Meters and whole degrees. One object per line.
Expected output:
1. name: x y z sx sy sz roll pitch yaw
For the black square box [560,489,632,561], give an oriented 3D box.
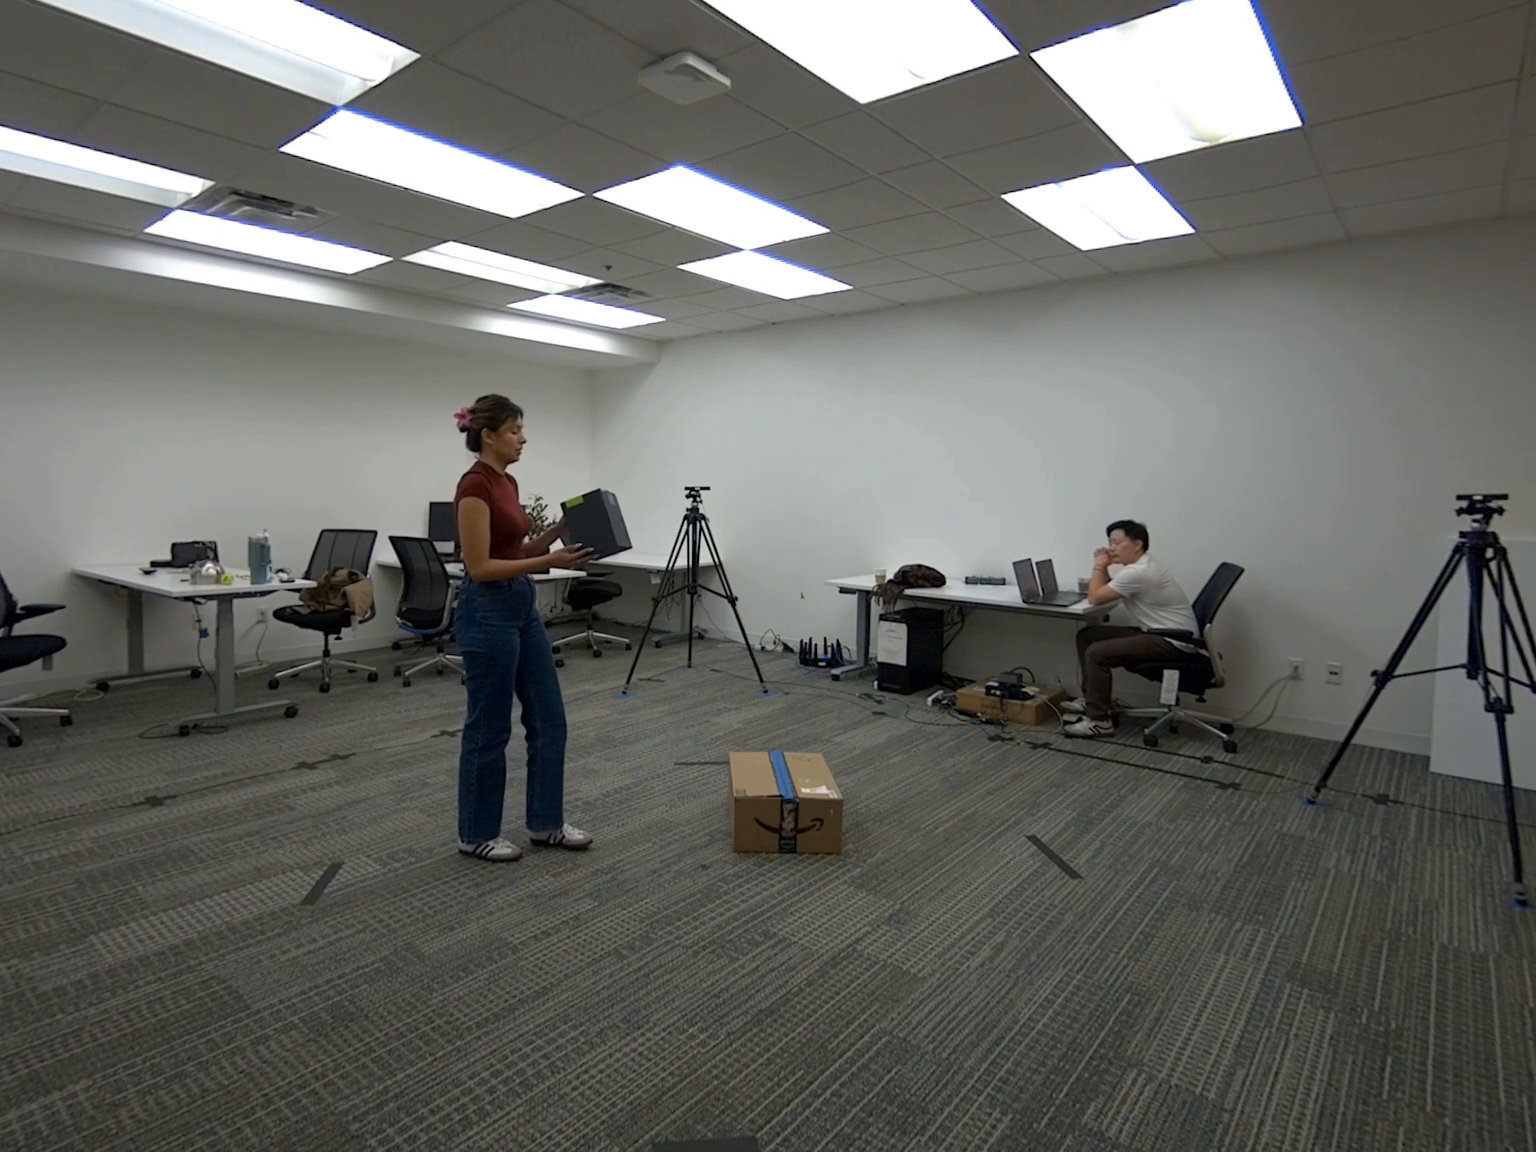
1. black square box: -0.636 -0.187 3.102 0.156 0.218 0.225 -16 -4 4
